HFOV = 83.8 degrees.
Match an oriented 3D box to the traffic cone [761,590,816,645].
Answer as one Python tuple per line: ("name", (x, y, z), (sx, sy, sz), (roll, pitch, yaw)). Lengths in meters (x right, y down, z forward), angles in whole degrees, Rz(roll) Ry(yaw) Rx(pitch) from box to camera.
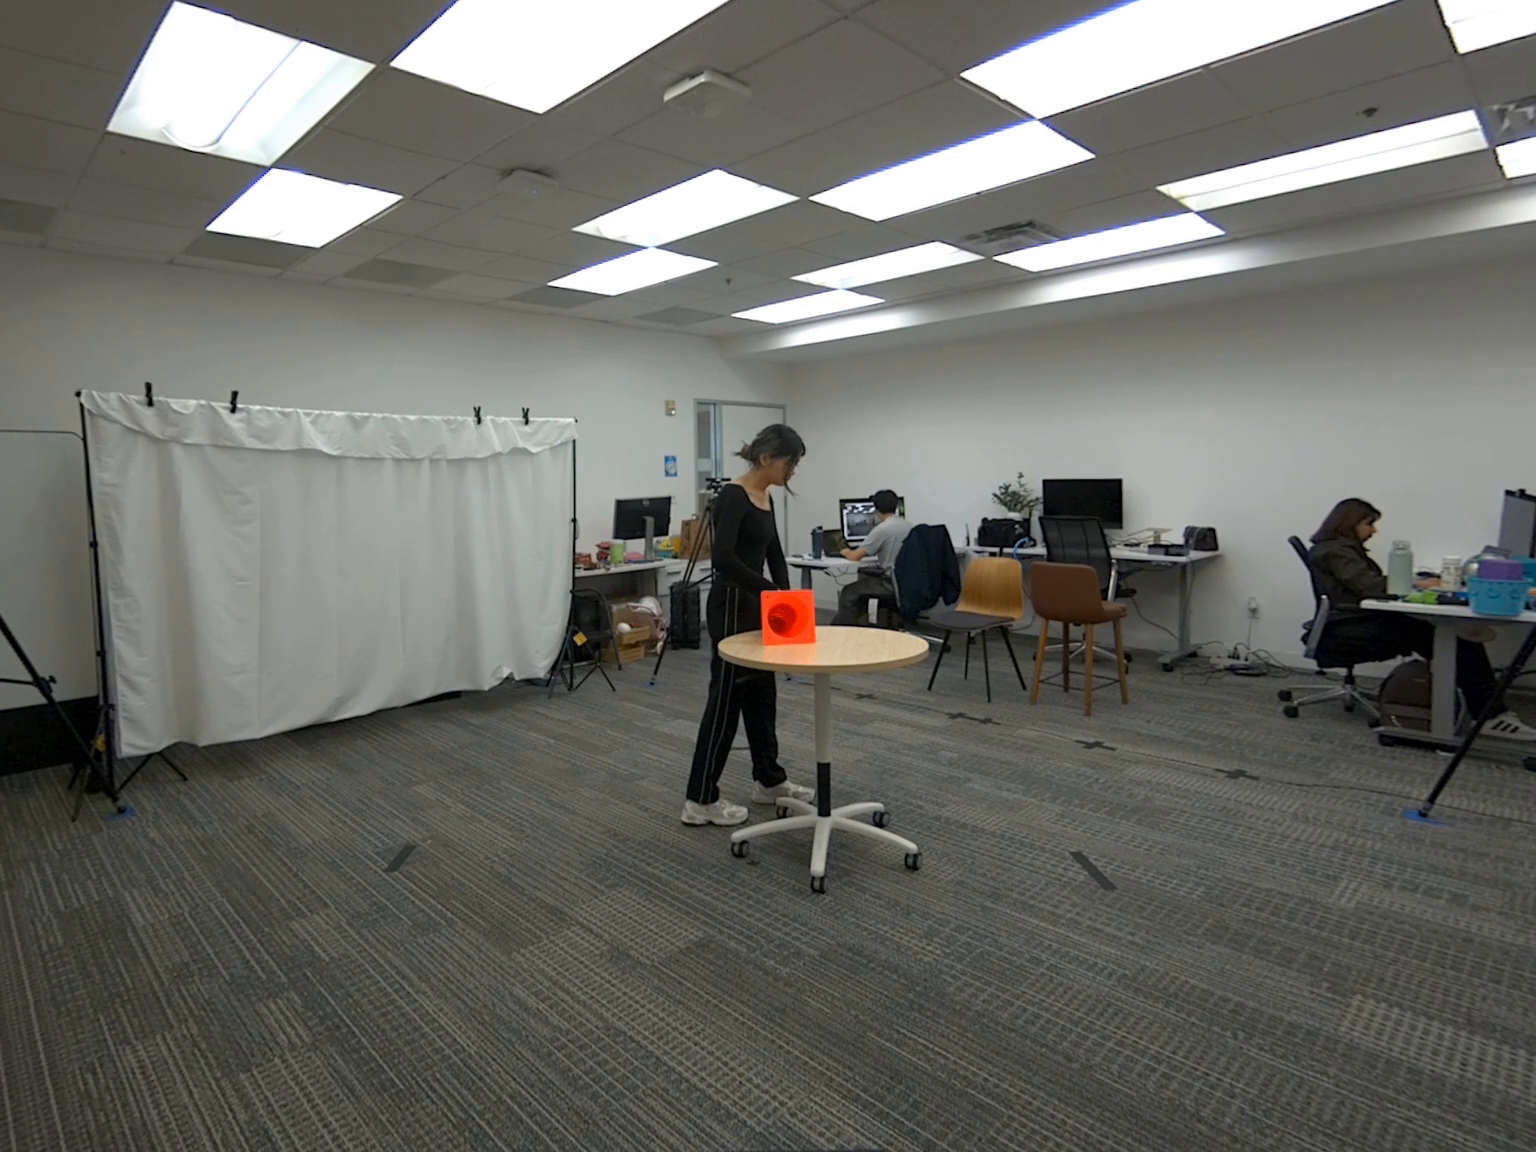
("traffic cone", (0.038, 0.176, 3.348), (0.204, 0.204, 0.383), (7, -6, -4))
